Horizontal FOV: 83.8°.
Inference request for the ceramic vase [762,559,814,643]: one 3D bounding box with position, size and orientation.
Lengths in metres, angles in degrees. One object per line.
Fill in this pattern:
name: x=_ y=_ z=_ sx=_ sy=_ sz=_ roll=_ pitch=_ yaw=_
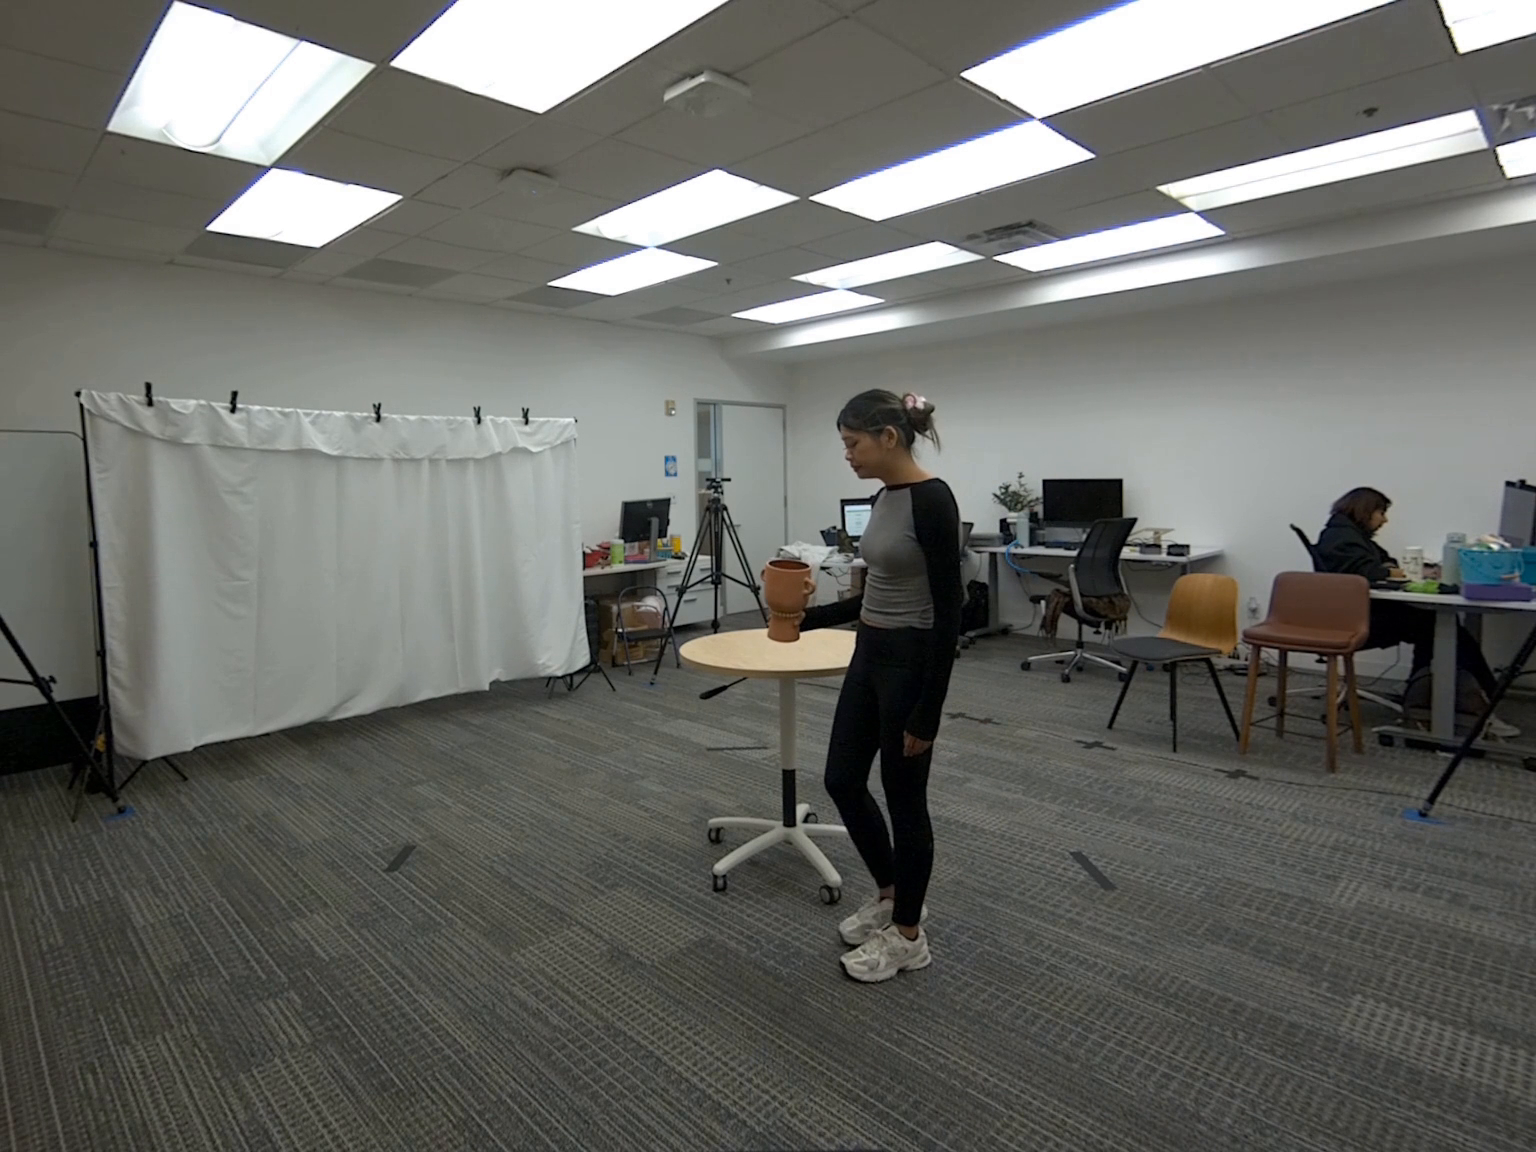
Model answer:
ceramic vase: x=0.061 y=0.073 z=2.477 sx=0.133 sy=0.217 sz=0.162 roll=1 pitch=14 yaw=-9
